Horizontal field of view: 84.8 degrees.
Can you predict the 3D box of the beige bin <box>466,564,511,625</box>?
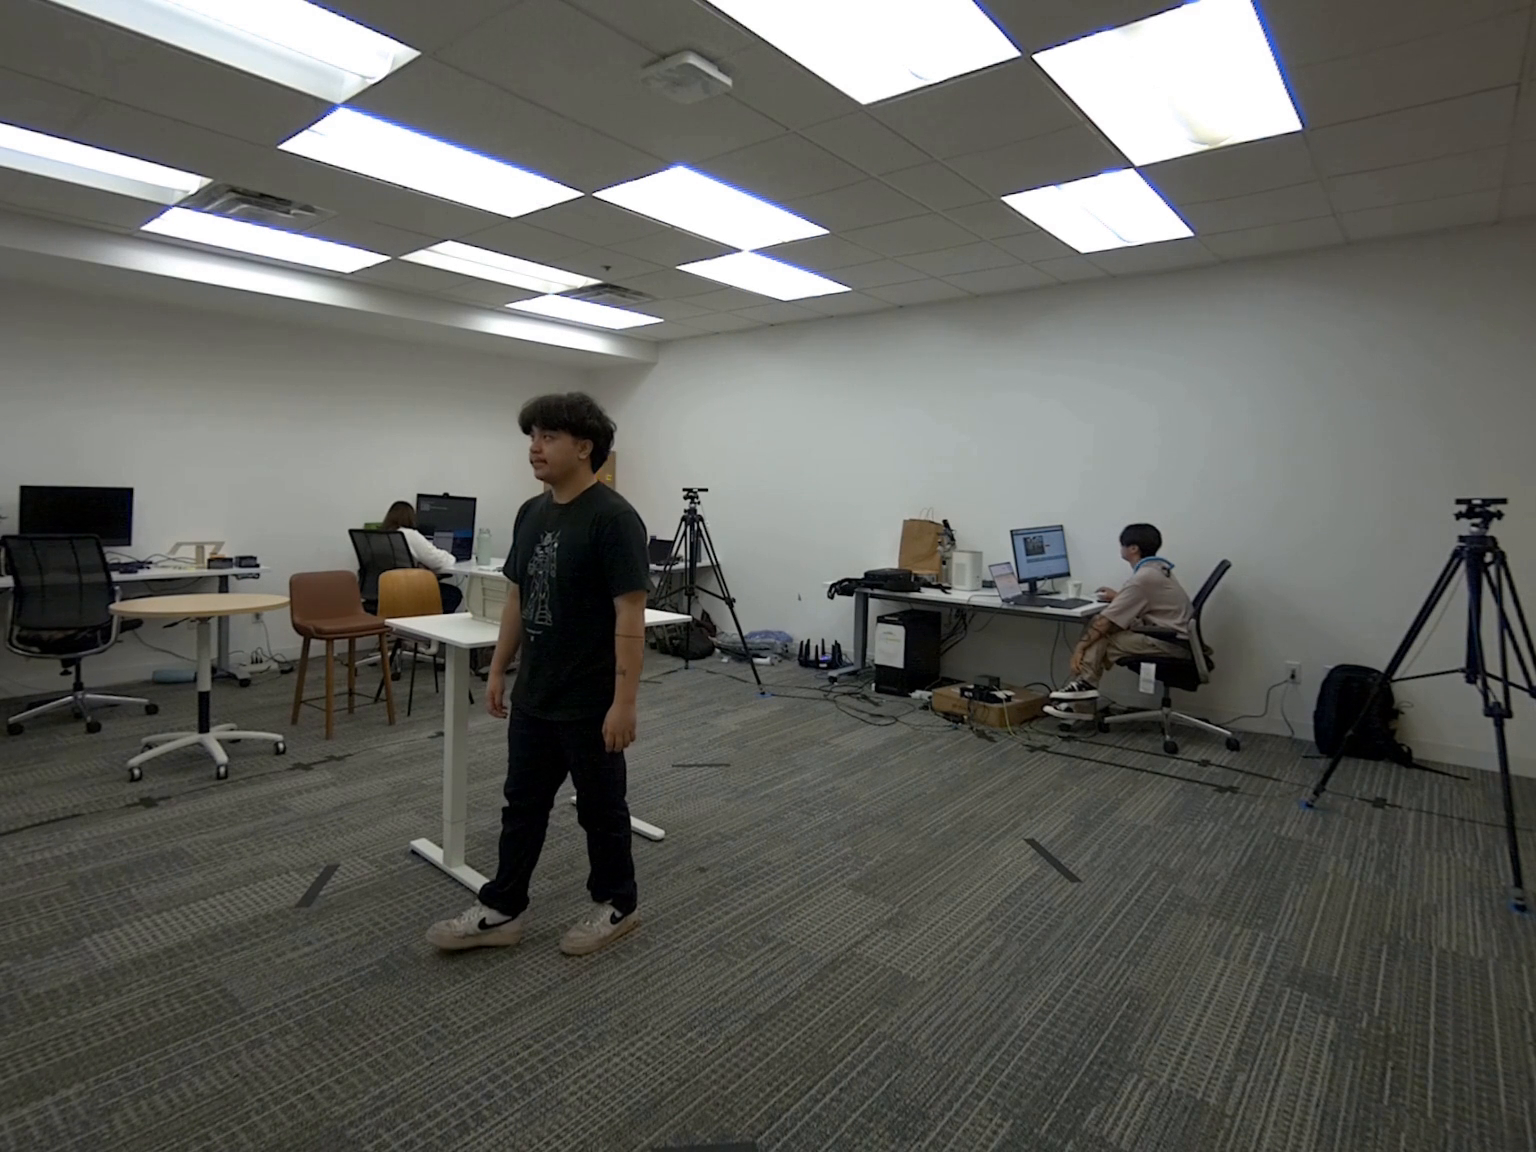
[{"bbox_3d":[-0.886,0.074,3.246,0.391,0.188,0.409,8,8,42],"label":"beige bin"}]
